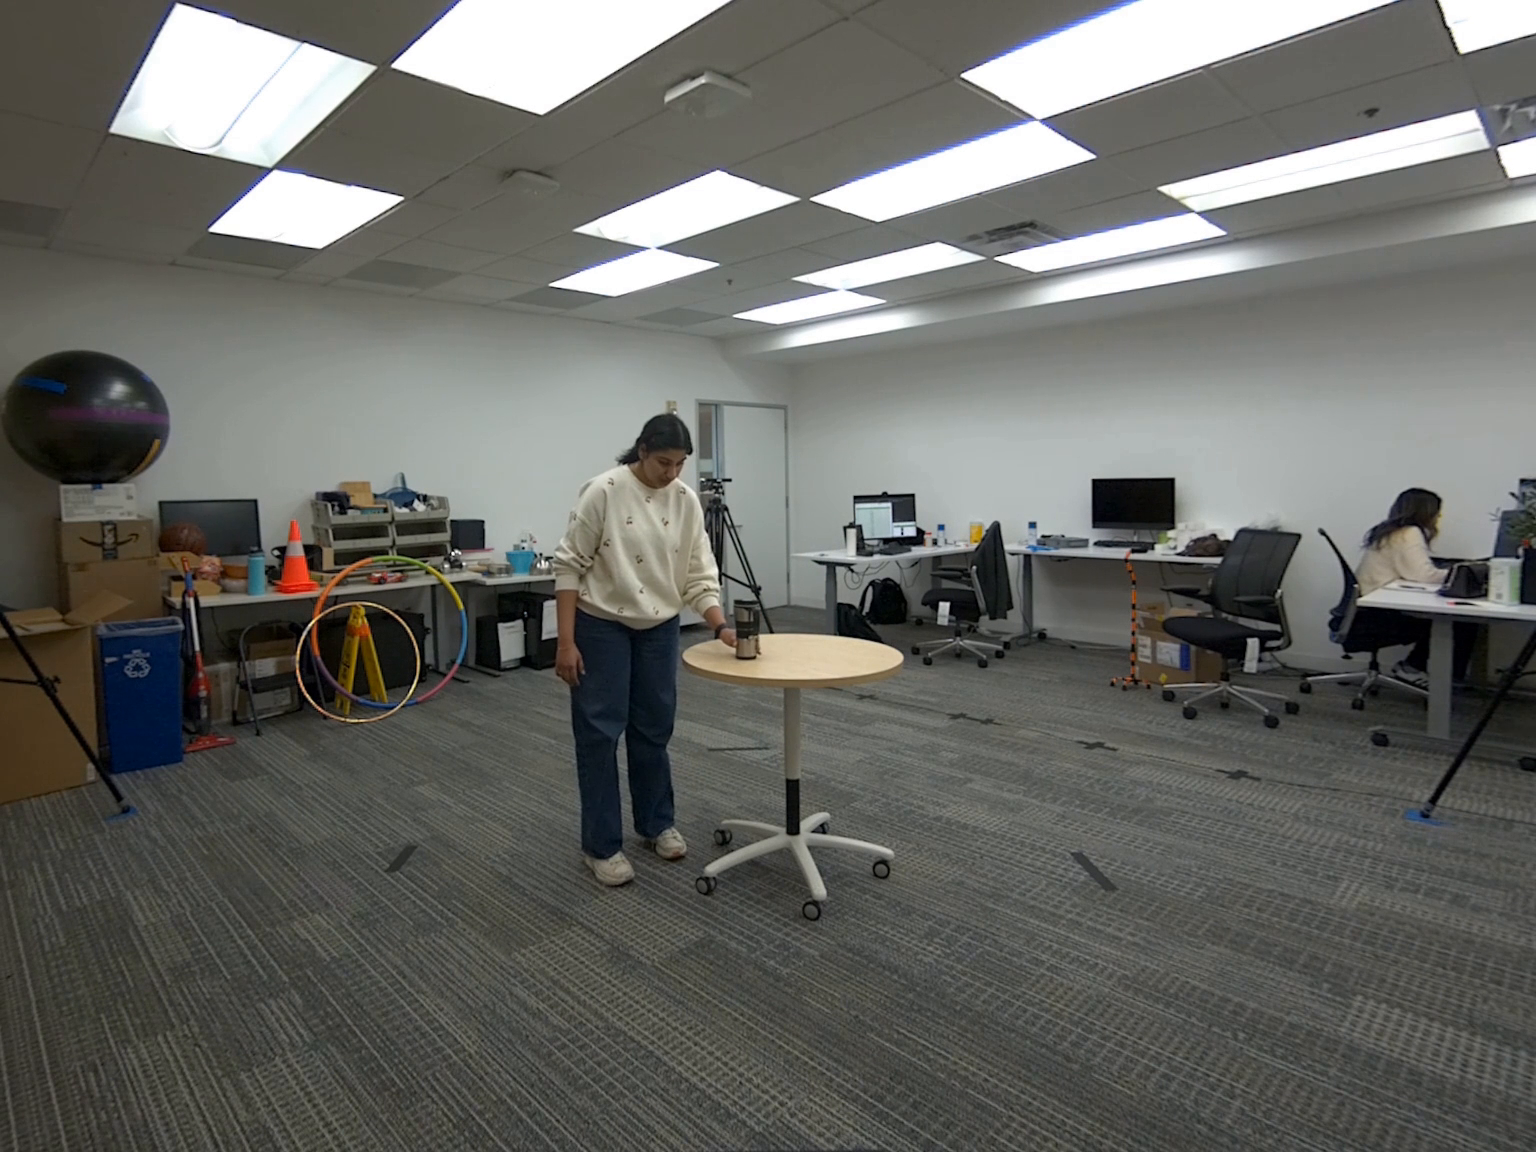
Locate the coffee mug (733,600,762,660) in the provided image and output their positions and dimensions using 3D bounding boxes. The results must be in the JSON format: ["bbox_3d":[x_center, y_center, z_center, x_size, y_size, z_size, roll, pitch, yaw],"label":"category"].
[{"bbox_3d":[-0.085,0.181,2.888,0.090,0.203,0.118,0,-2,38],"label":"coffee mug"}]
